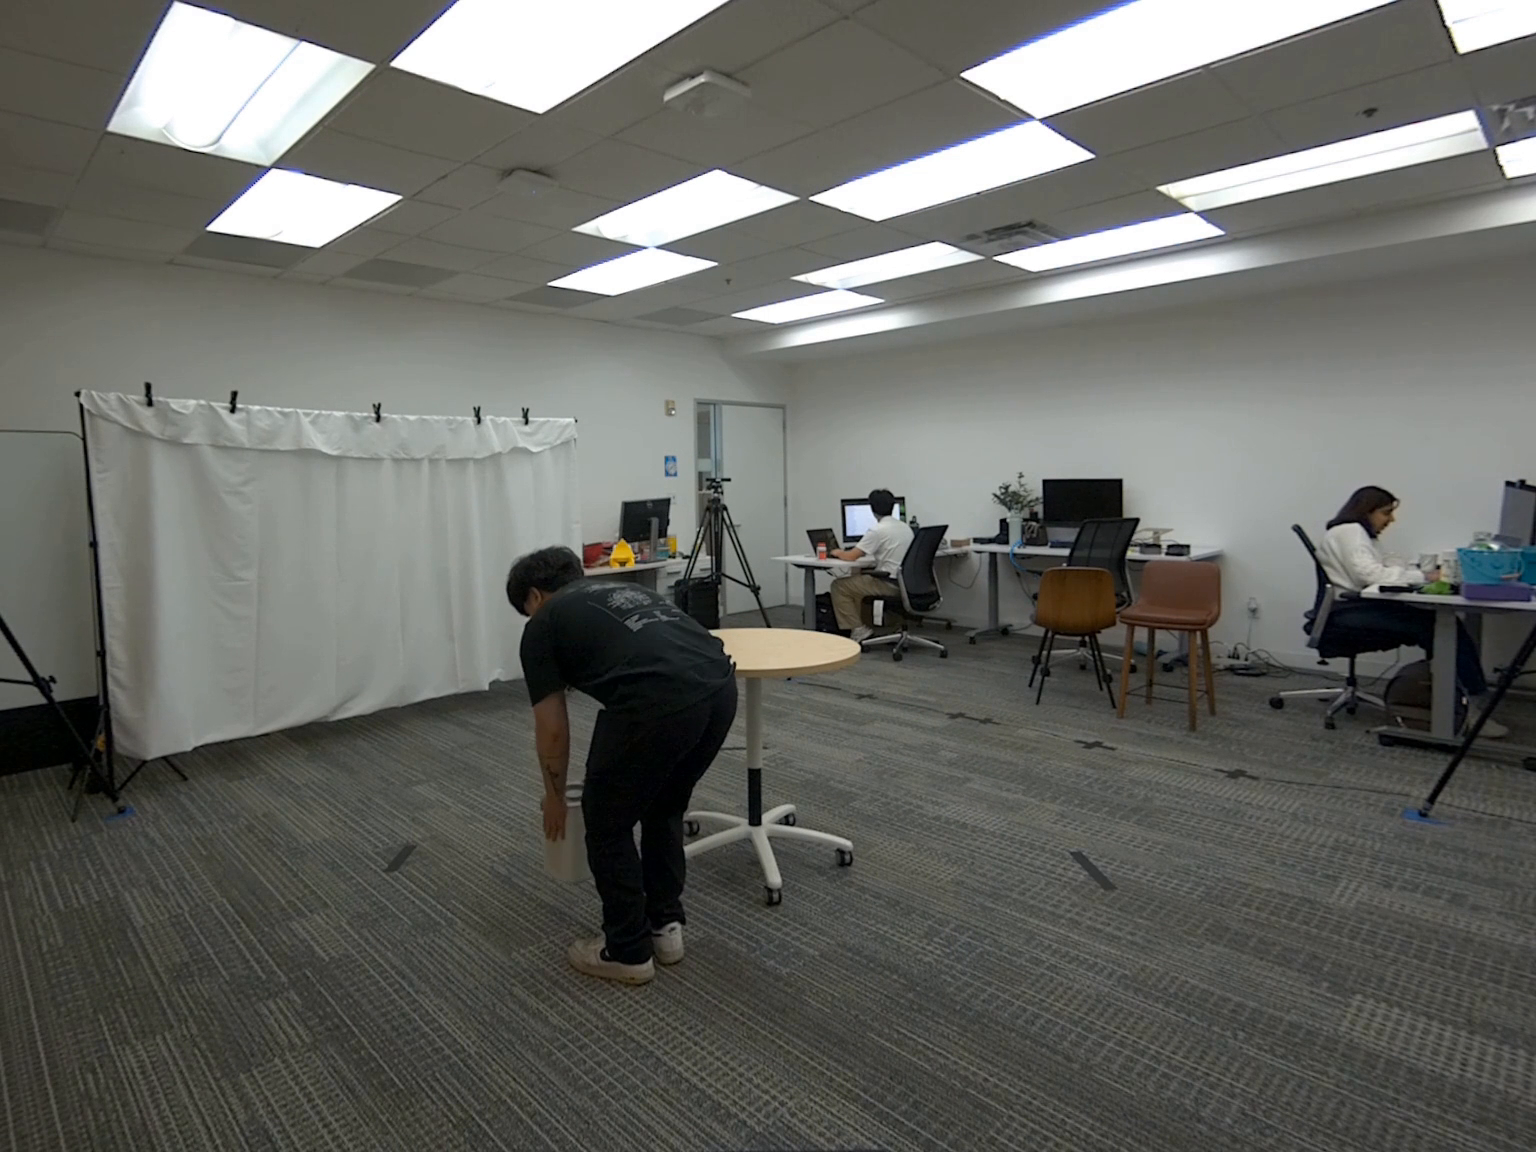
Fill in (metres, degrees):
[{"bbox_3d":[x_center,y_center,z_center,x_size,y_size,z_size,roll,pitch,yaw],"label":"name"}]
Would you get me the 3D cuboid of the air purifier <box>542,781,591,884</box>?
[{"bbox_3d":[-0.603,0.803,2.691,0.177,0.264,0.167,5,7,38],"label":"air purifier"}]
